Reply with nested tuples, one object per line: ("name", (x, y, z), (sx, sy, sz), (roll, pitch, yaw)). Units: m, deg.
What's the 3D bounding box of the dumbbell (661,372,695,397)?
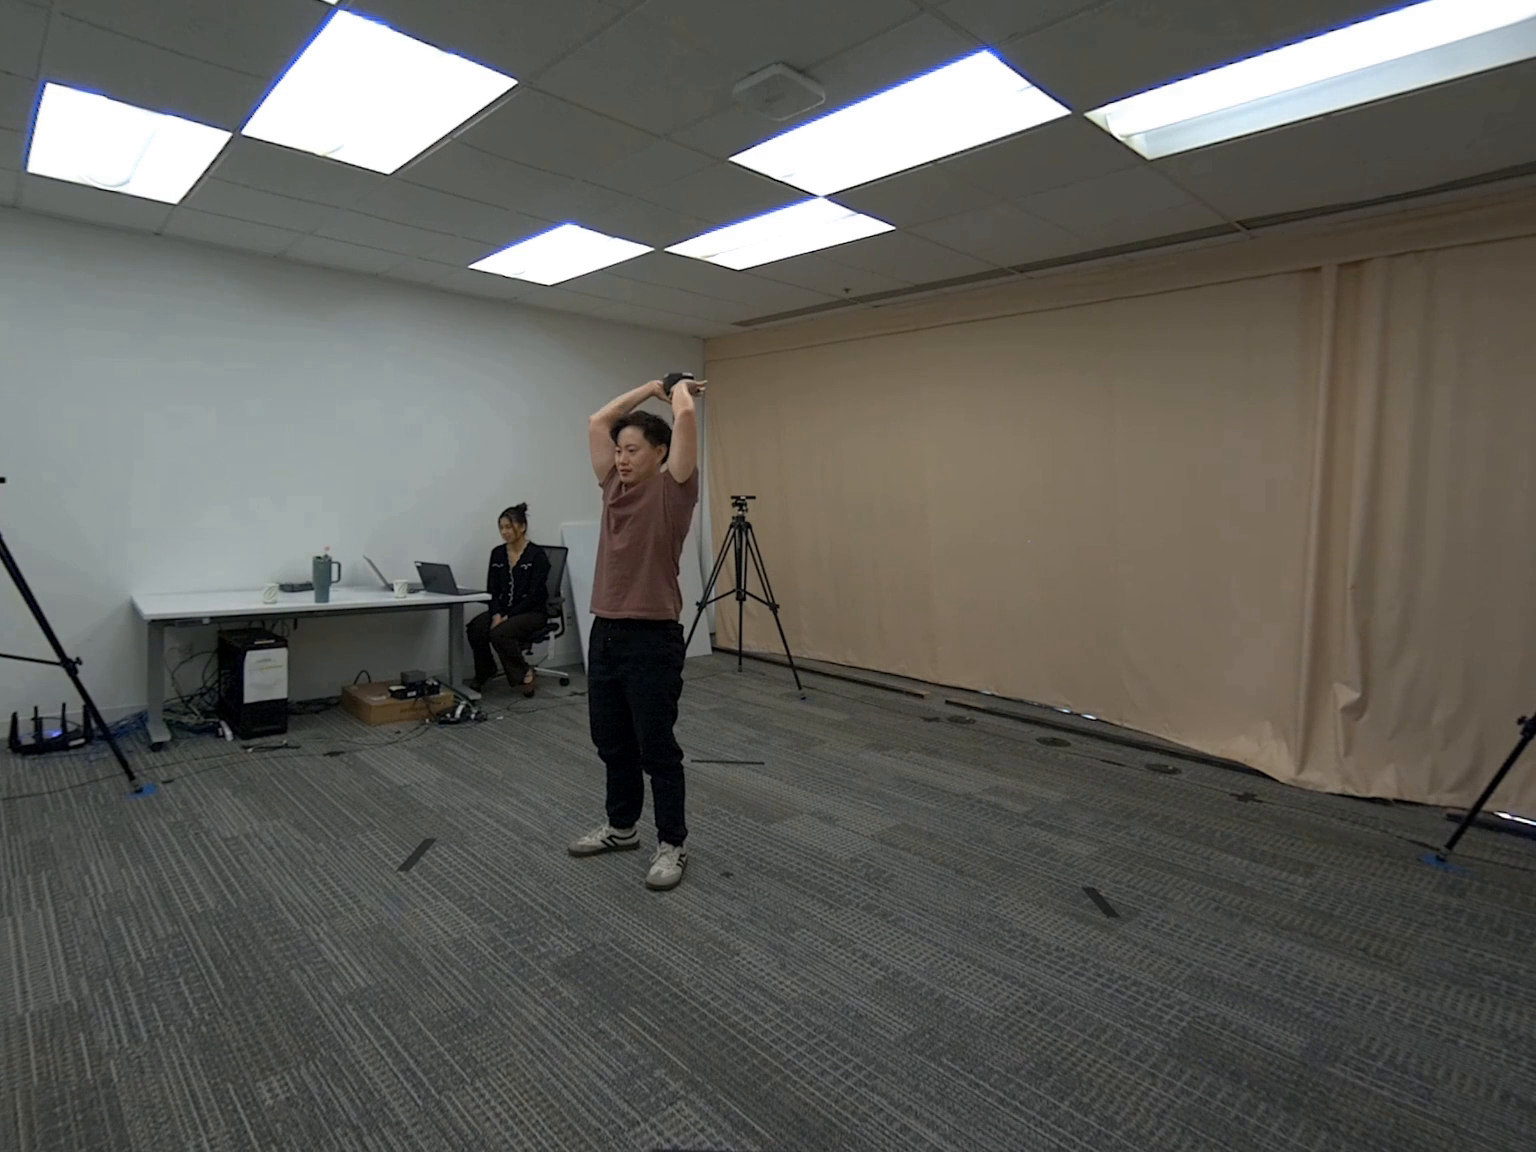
("dumbbell", (-0.350, -0.623, 3.245), (0.120, 0.292, 0.111), (-10, 9, -44))
